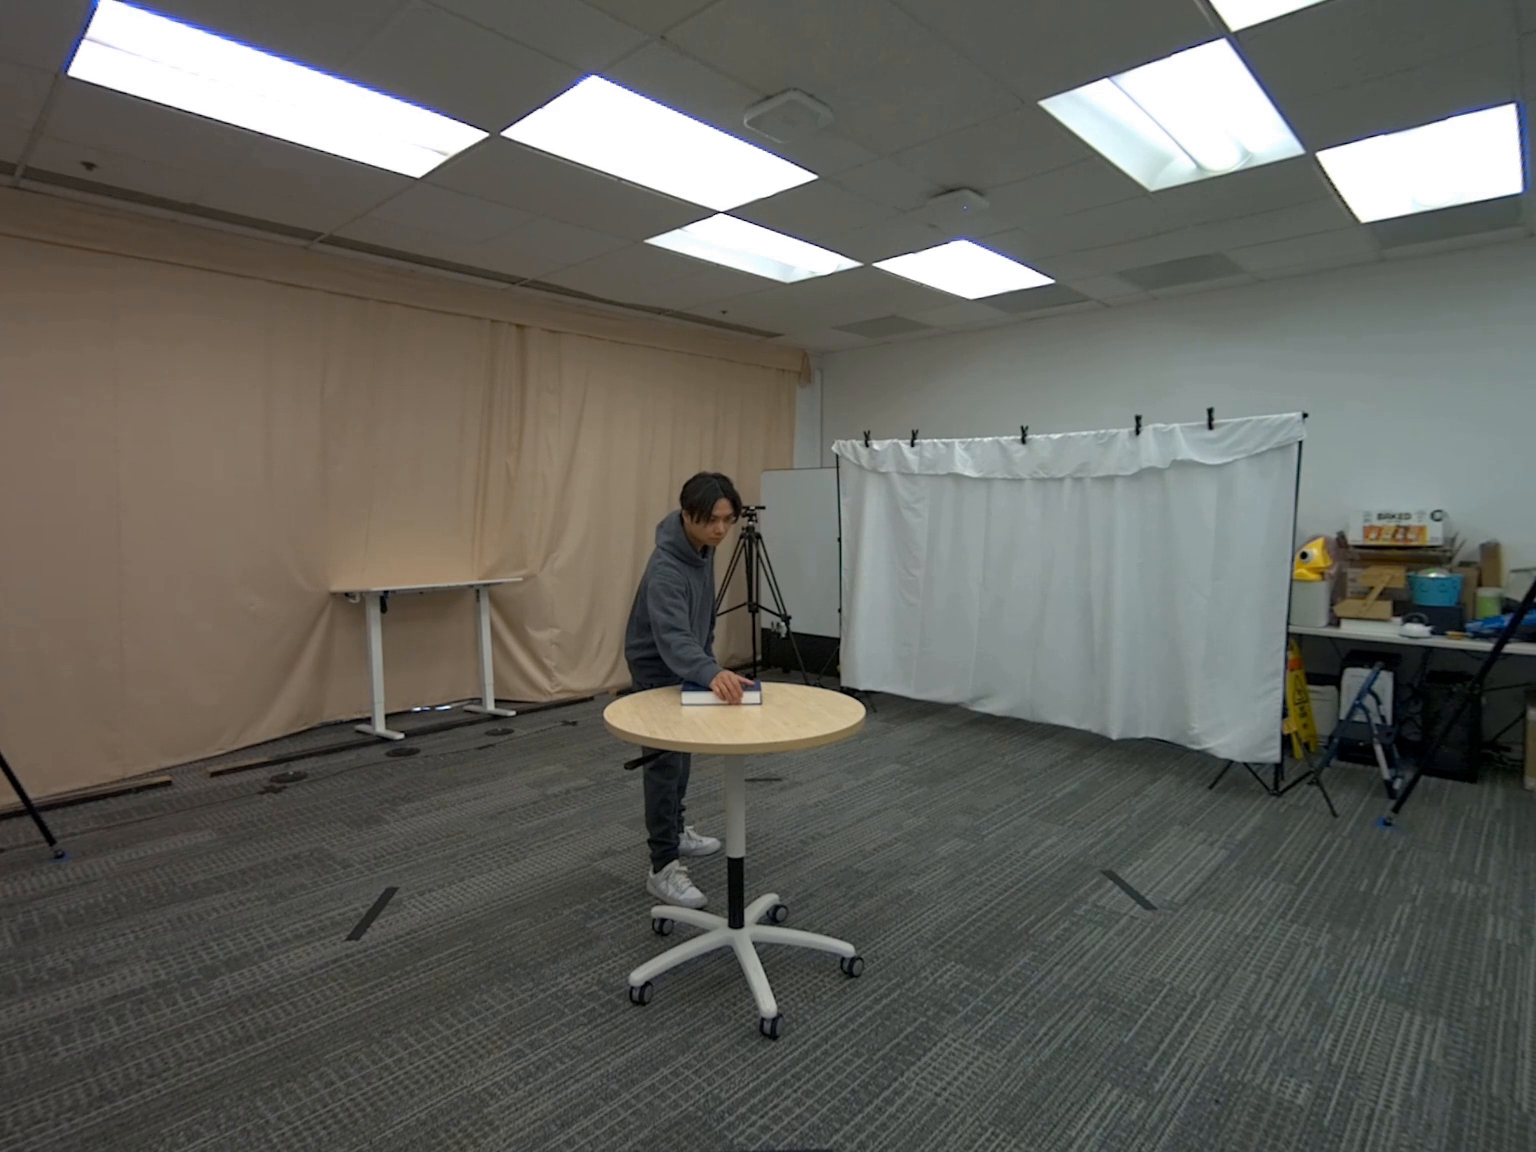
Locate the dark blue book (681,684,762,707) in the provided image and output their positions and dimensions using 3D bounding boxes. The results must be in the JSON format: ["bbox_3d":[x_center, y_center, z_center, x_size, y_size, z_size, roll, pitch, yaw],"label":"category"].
[{"bbox_3d":[-0.134,0.360,2.599,0.245,0.045,0.163,-2,3,0],"label":"dark blue book"}]
